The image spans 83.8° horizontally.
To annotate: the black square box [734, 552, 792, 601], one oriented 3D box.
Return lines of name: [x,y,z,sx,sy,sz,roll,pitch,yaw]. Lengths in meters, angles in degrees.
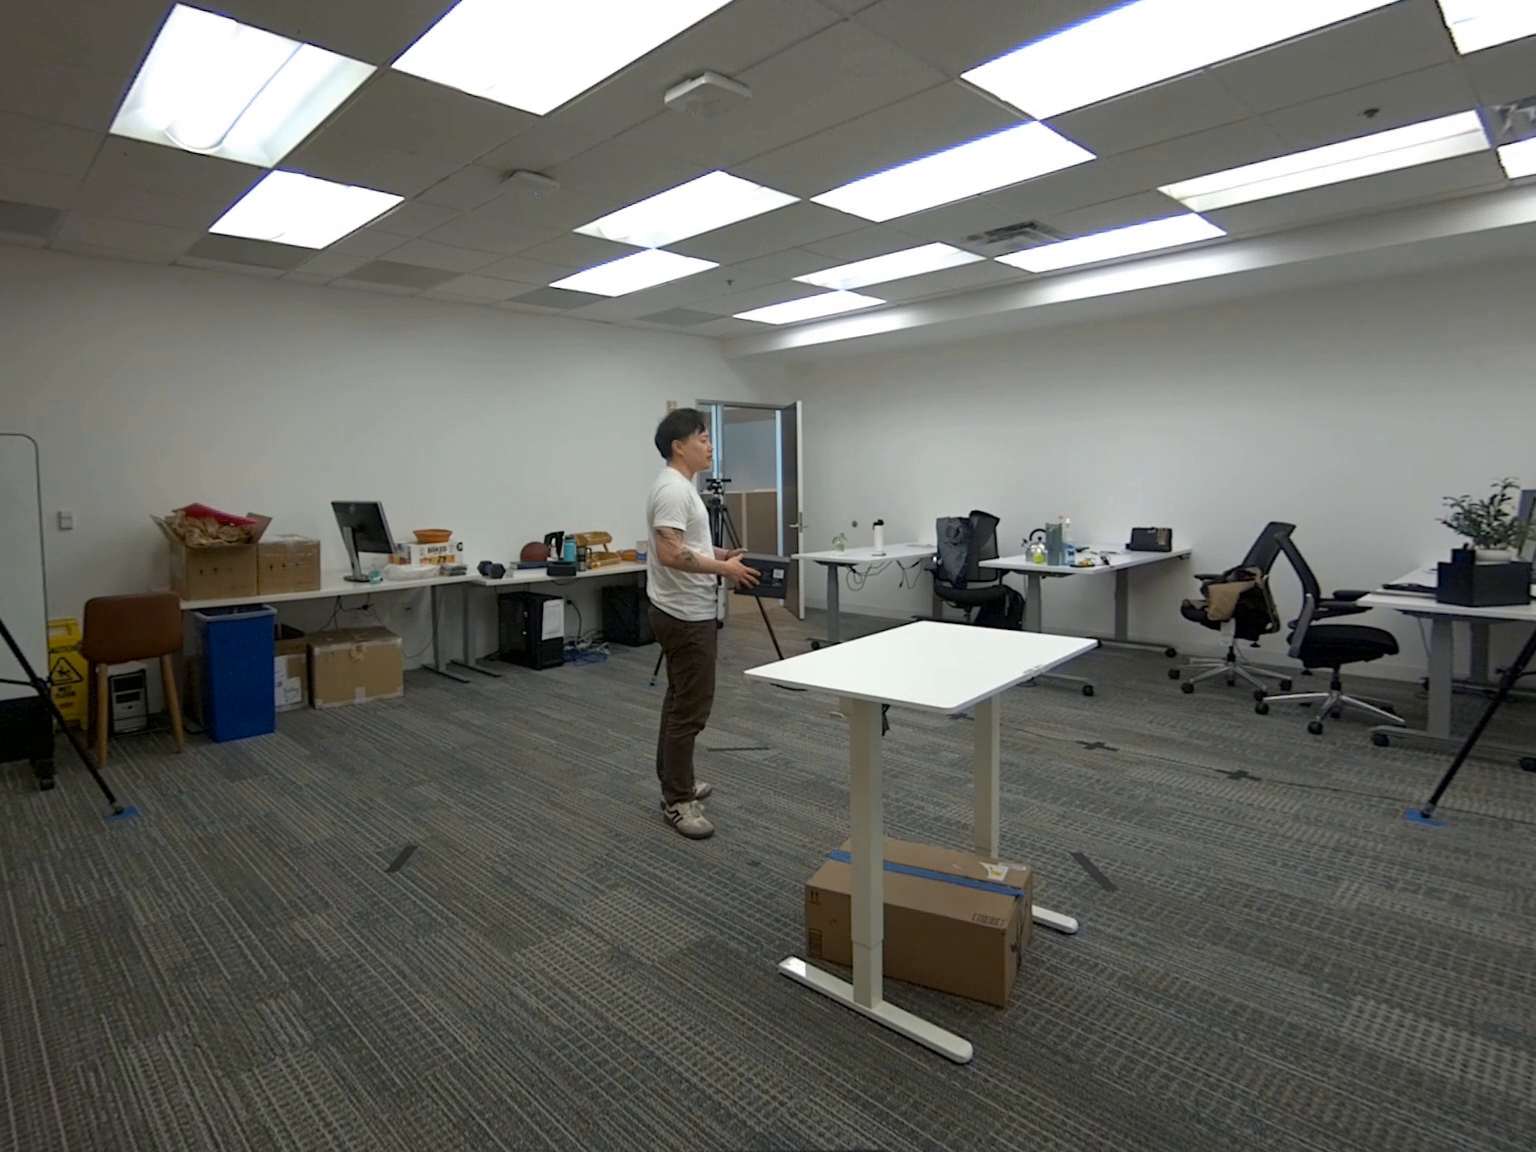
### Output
black square box: [-0.023,-0.004,3.568,0.217,0.155,0.228,5,5,0]
